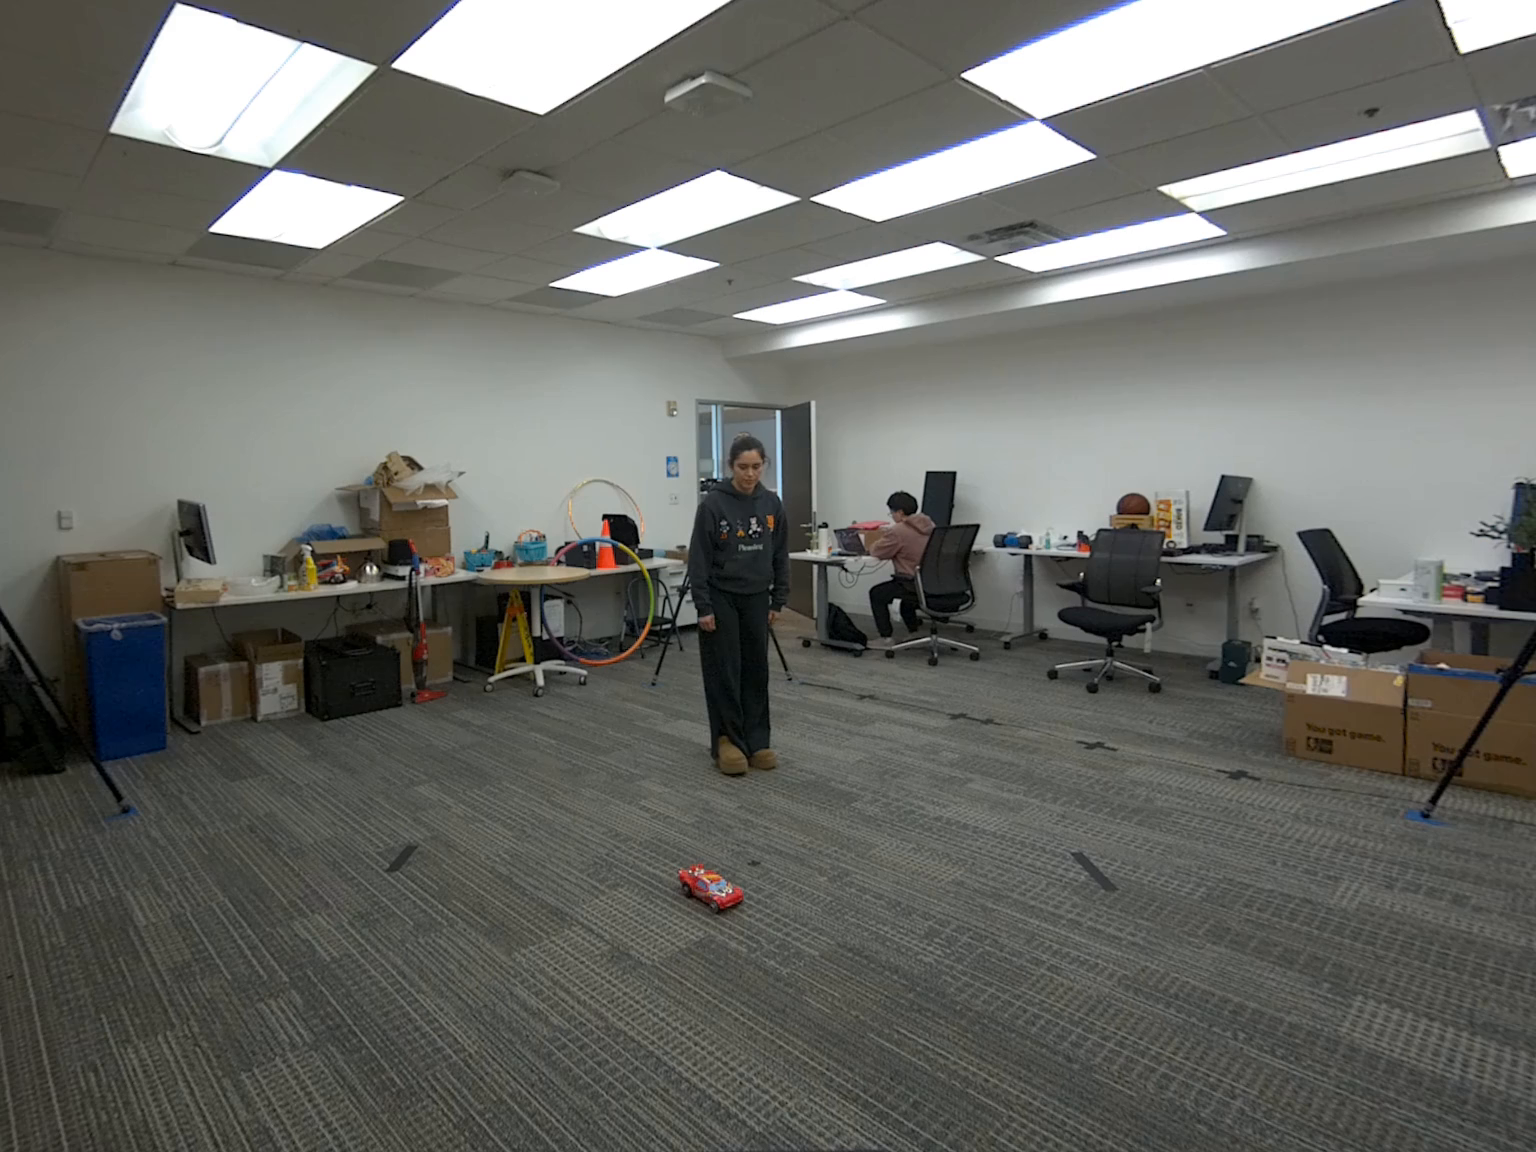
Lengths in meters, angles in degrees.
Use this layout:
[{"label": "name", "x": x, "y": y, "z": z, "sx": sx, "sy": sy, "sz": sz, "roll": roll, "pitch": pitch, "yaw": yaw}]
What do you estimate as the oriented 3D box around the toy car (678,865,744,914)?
[{"label": "toy car", "x": -0.200, "y": 1.048, "z": 2.847, "sx": 0.127, "sy": 0.082, "sz": 0.264, "roll": -7, "pitch": 19, "yaw": -39}]
